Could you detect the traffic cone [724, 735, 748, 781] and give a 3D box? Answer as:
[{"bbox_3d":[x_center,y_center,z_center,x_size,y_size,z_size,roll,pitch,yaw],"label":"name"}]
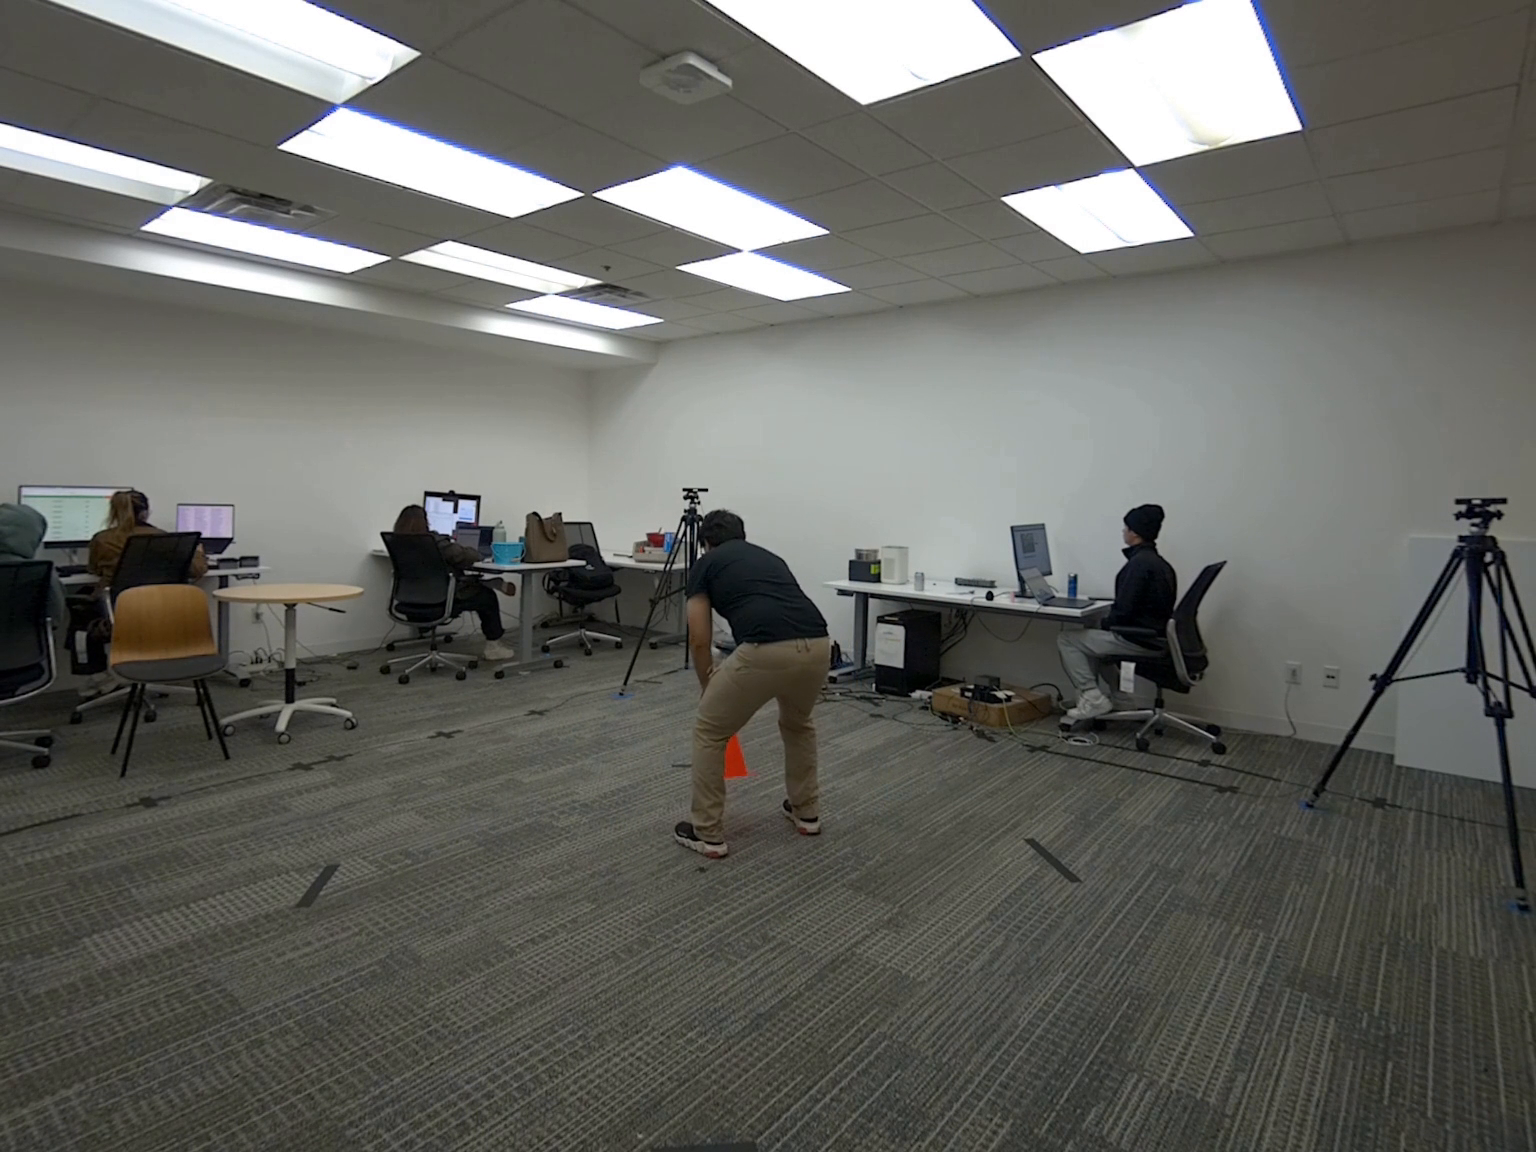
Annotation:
[{"bbox_3d":[-0.190,0.647,3.612,0.198,0.387,0.208,-1,-10,-27],"label":"traffic cone"}]
